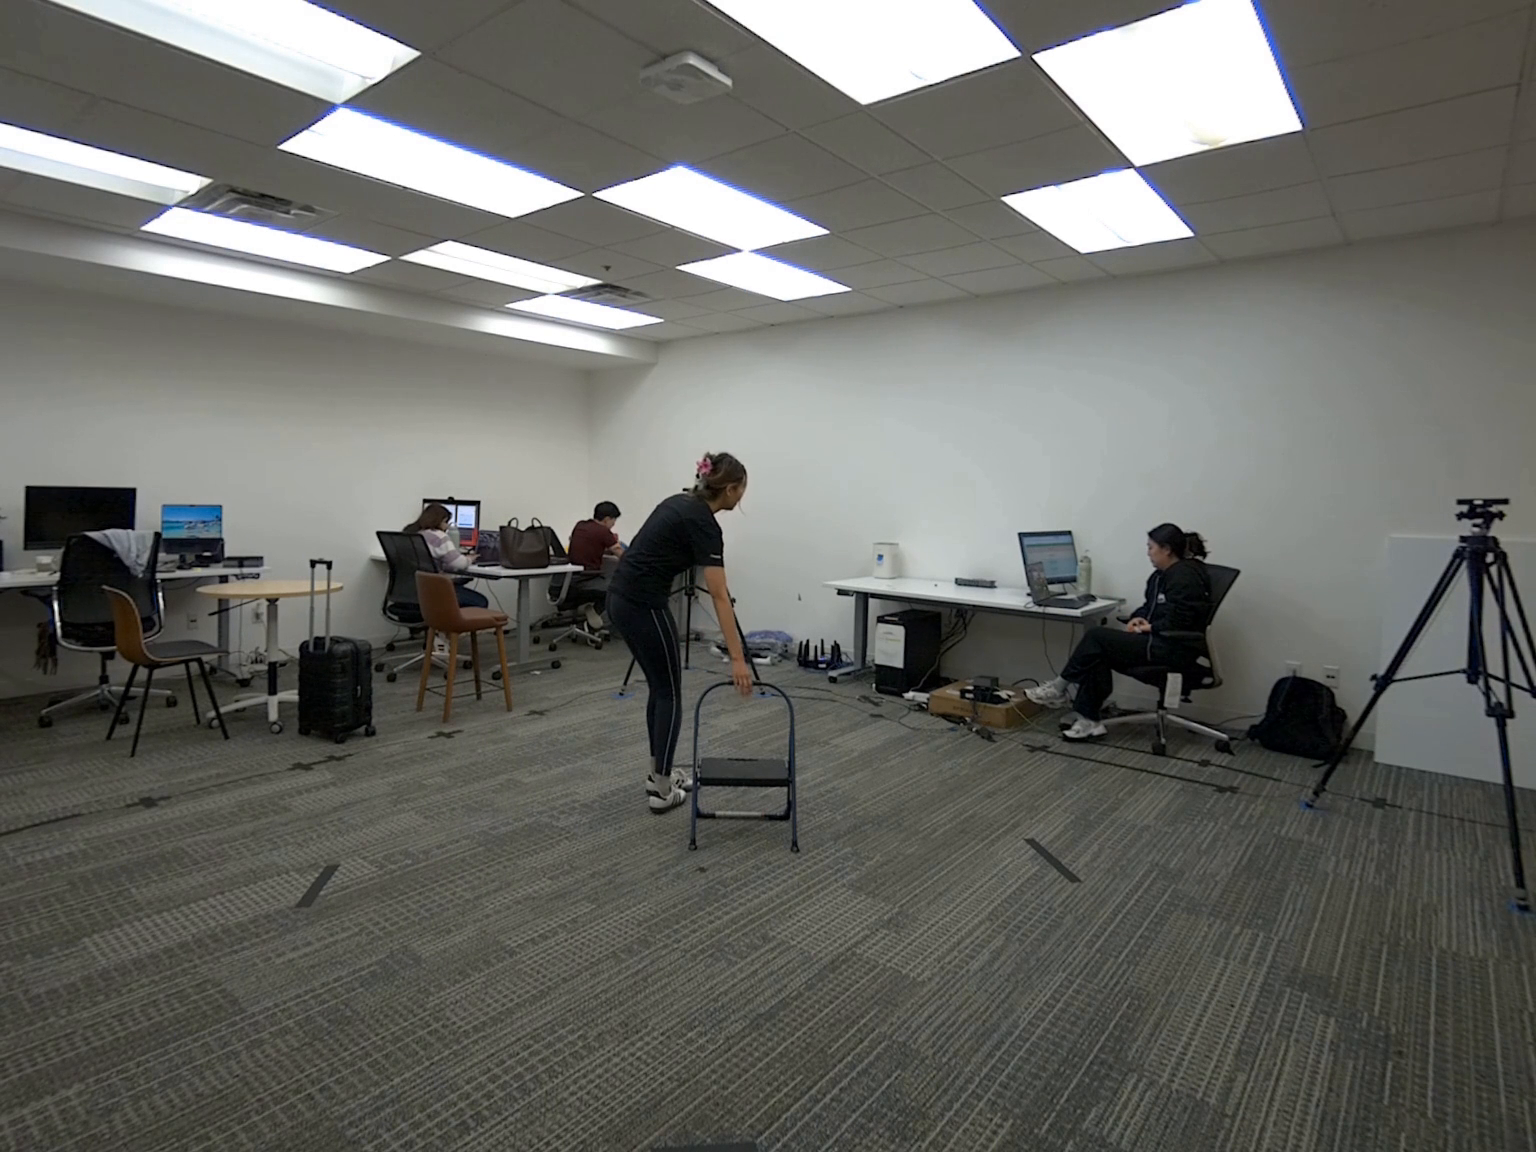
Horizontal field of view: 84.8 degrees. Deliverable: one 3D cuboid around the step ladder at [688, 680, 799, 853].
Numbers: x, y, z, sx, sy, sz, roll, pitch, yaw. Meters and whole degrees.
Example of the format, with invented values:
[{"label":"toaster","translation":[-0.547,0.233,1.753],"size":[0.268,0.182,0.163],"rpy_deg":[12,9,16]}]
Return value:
[{"label":"step ladder","translation":[-0.104,0.739,3.433],"size":[0.430,0.604,0.351],"rpy_deg":[1,4,-2]}]
